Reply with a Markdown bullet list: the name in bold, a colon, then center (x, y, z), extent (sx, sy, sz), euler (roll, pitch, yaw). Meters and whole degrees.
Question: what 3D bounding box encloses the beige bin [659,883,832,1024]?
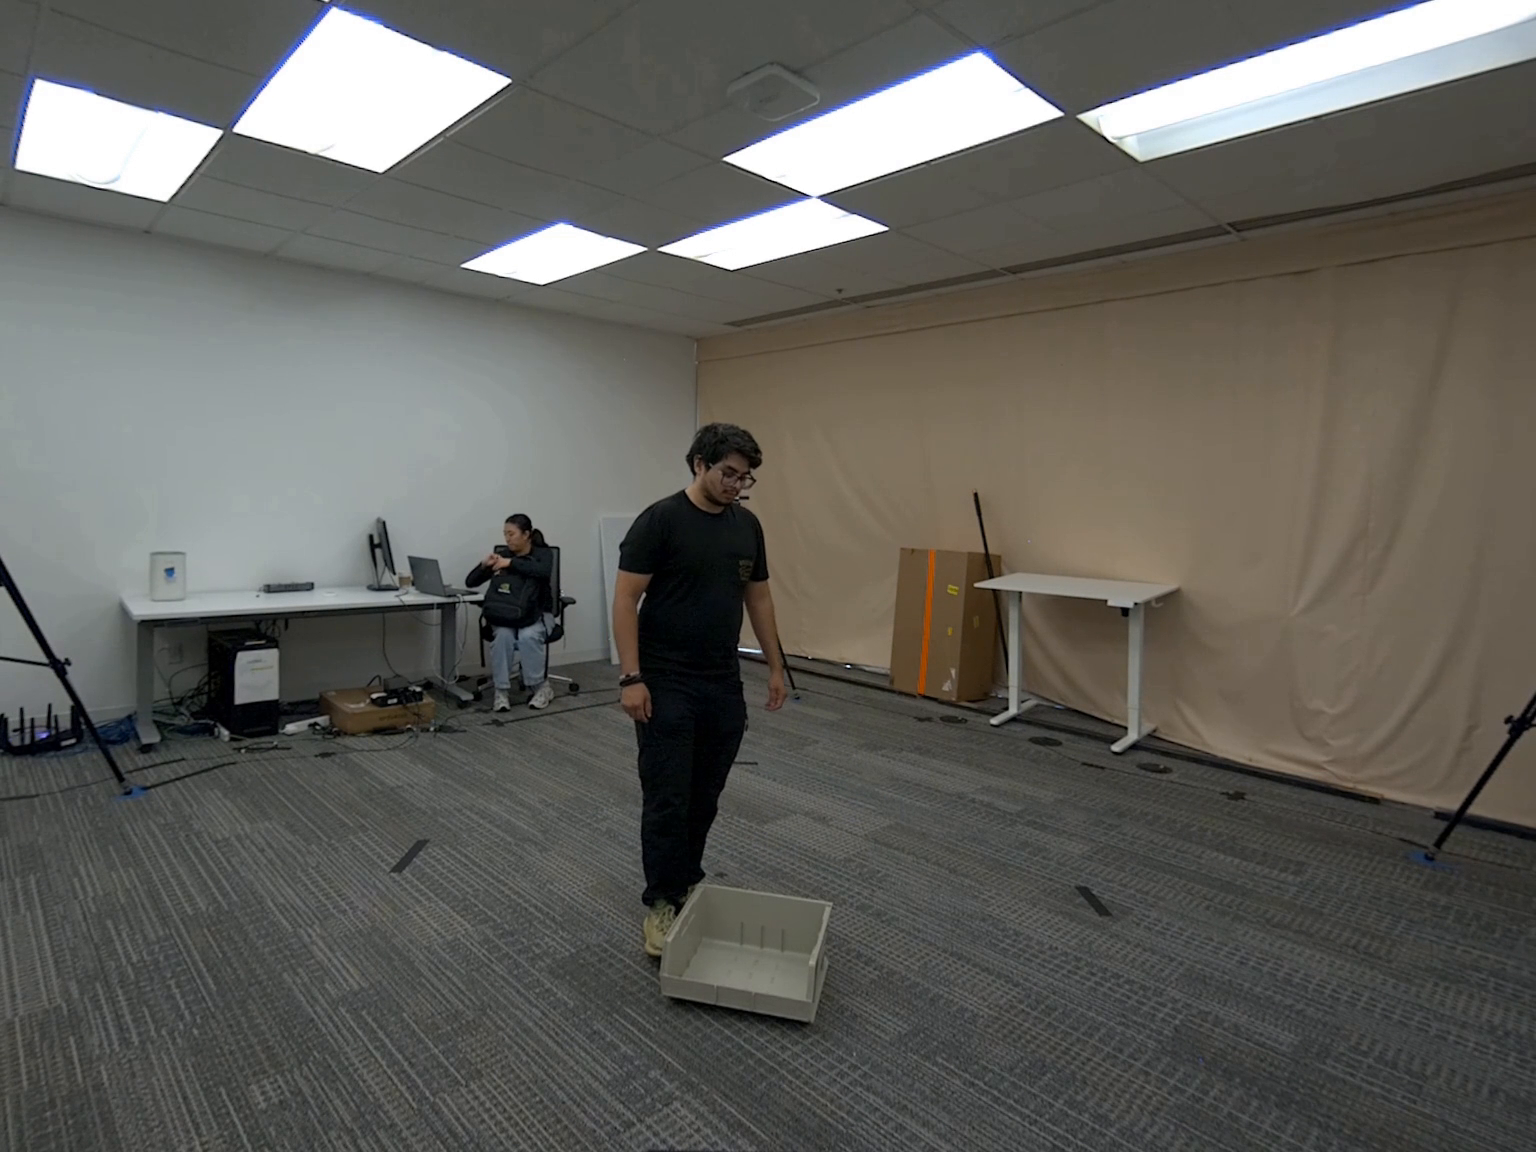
- **beige bin**: center (-0.054, 1.087, 2.406), extent (0.427, 0.188, 0.374), euler (2, 5, 13)
